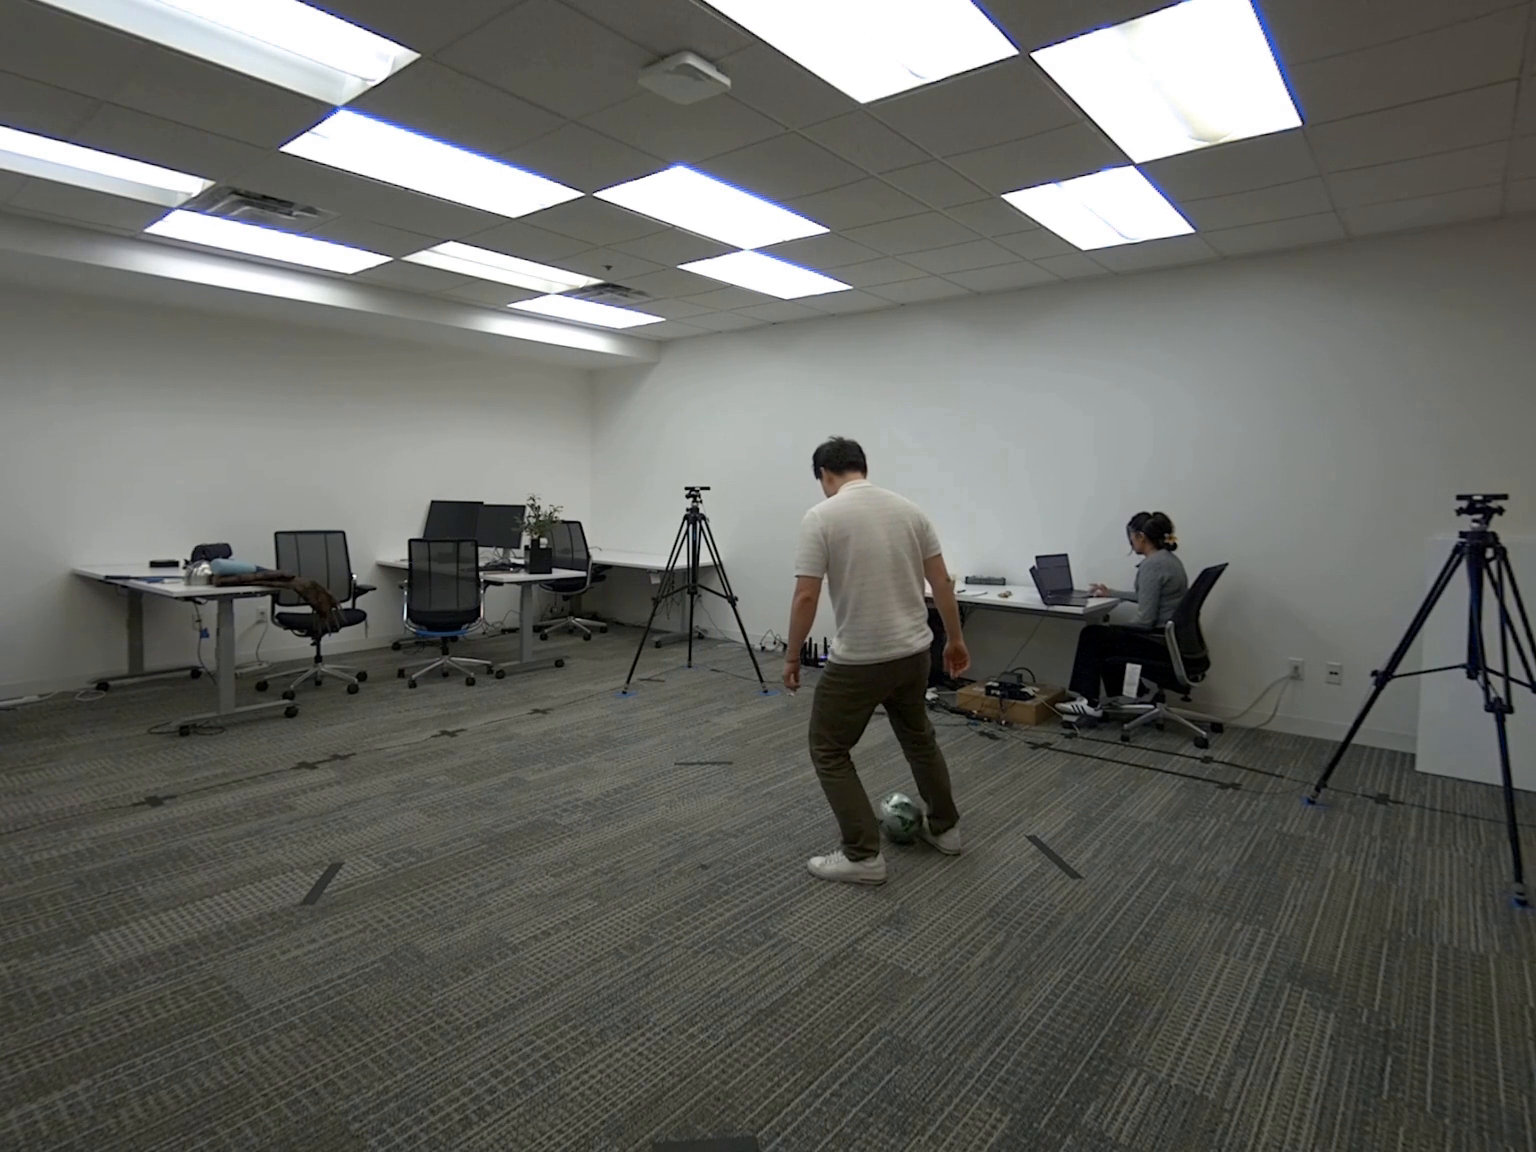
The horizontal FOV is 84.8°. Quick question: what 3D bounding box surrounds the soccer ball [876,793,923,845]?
[{"bbox_3d":[0.516,0.957,3.389,0.187,0.187,0.188,0,4,-2],"label":"soccer ball"}]
